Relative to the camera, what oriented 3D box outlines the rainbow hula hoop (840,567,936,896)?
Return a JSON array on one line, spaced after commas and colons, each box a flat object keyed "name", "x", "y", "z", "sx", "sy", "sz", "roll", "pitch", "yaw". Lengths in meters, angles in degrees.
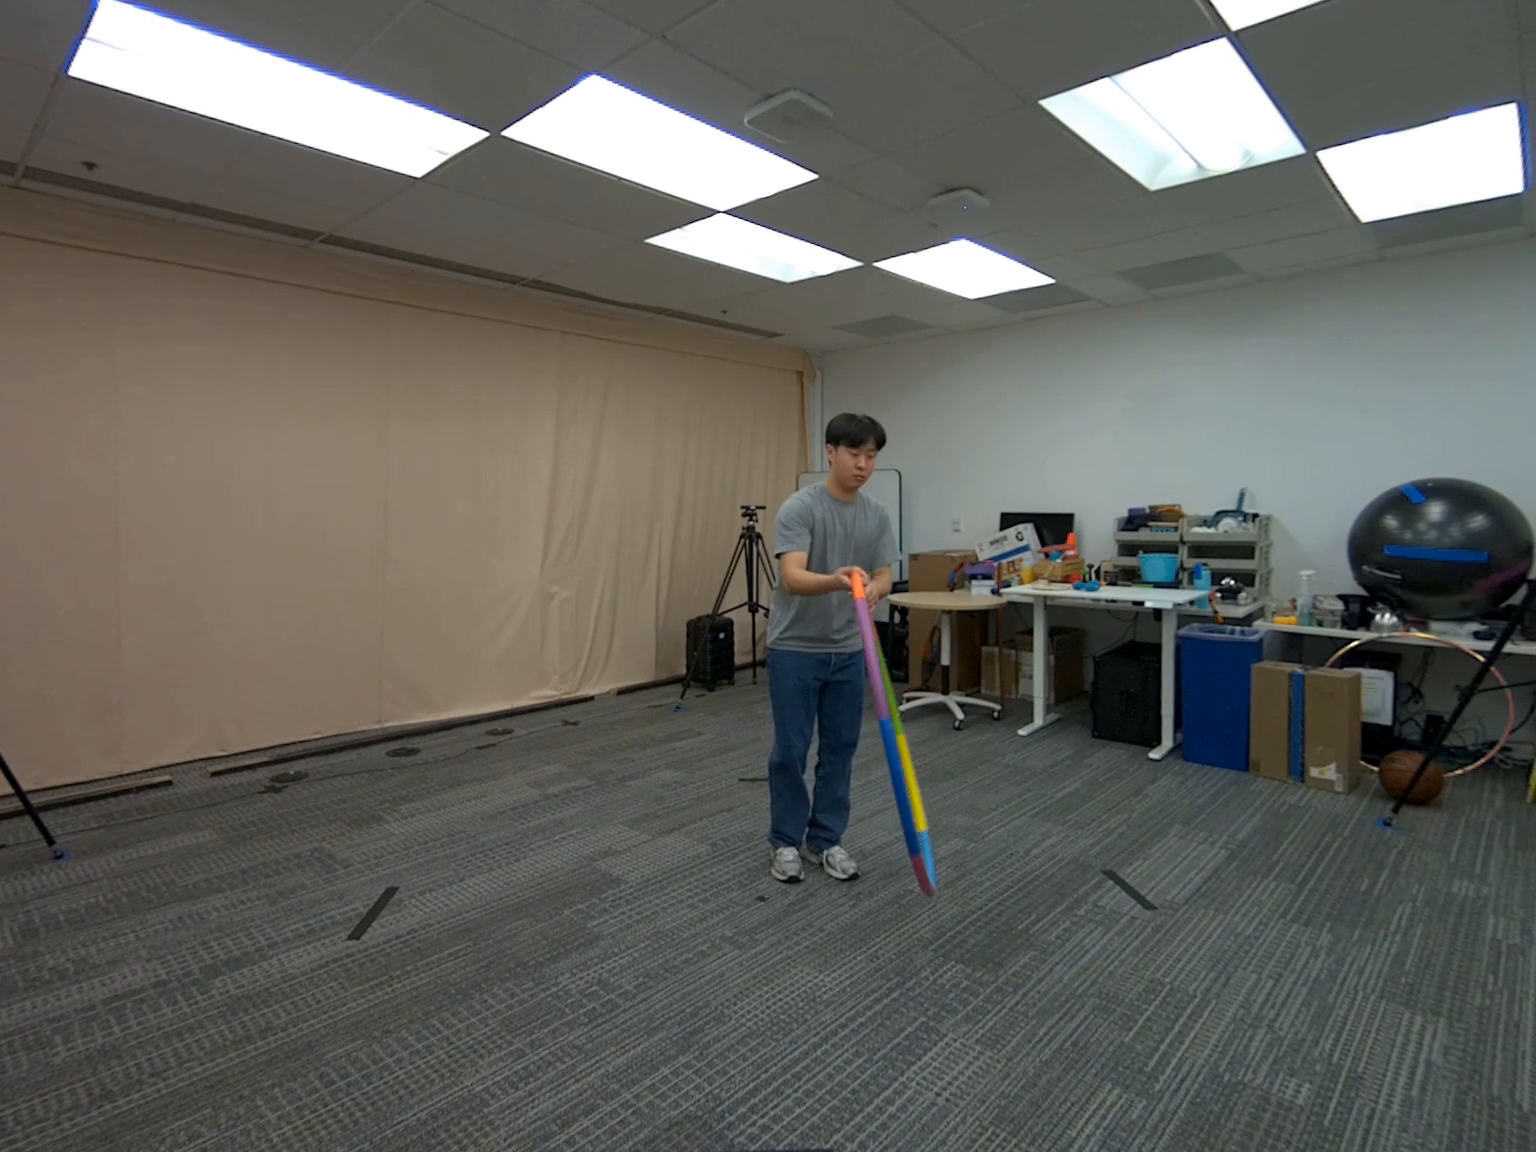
[{"name": "rainbow hula hoop", "x": 0.382, "y": 0.483, "z": 2.618, "sx": 0.036, "sy": 0.978, "sz": 0.970, "roll": -14, "pitch": 1, "yaw": 9}]
